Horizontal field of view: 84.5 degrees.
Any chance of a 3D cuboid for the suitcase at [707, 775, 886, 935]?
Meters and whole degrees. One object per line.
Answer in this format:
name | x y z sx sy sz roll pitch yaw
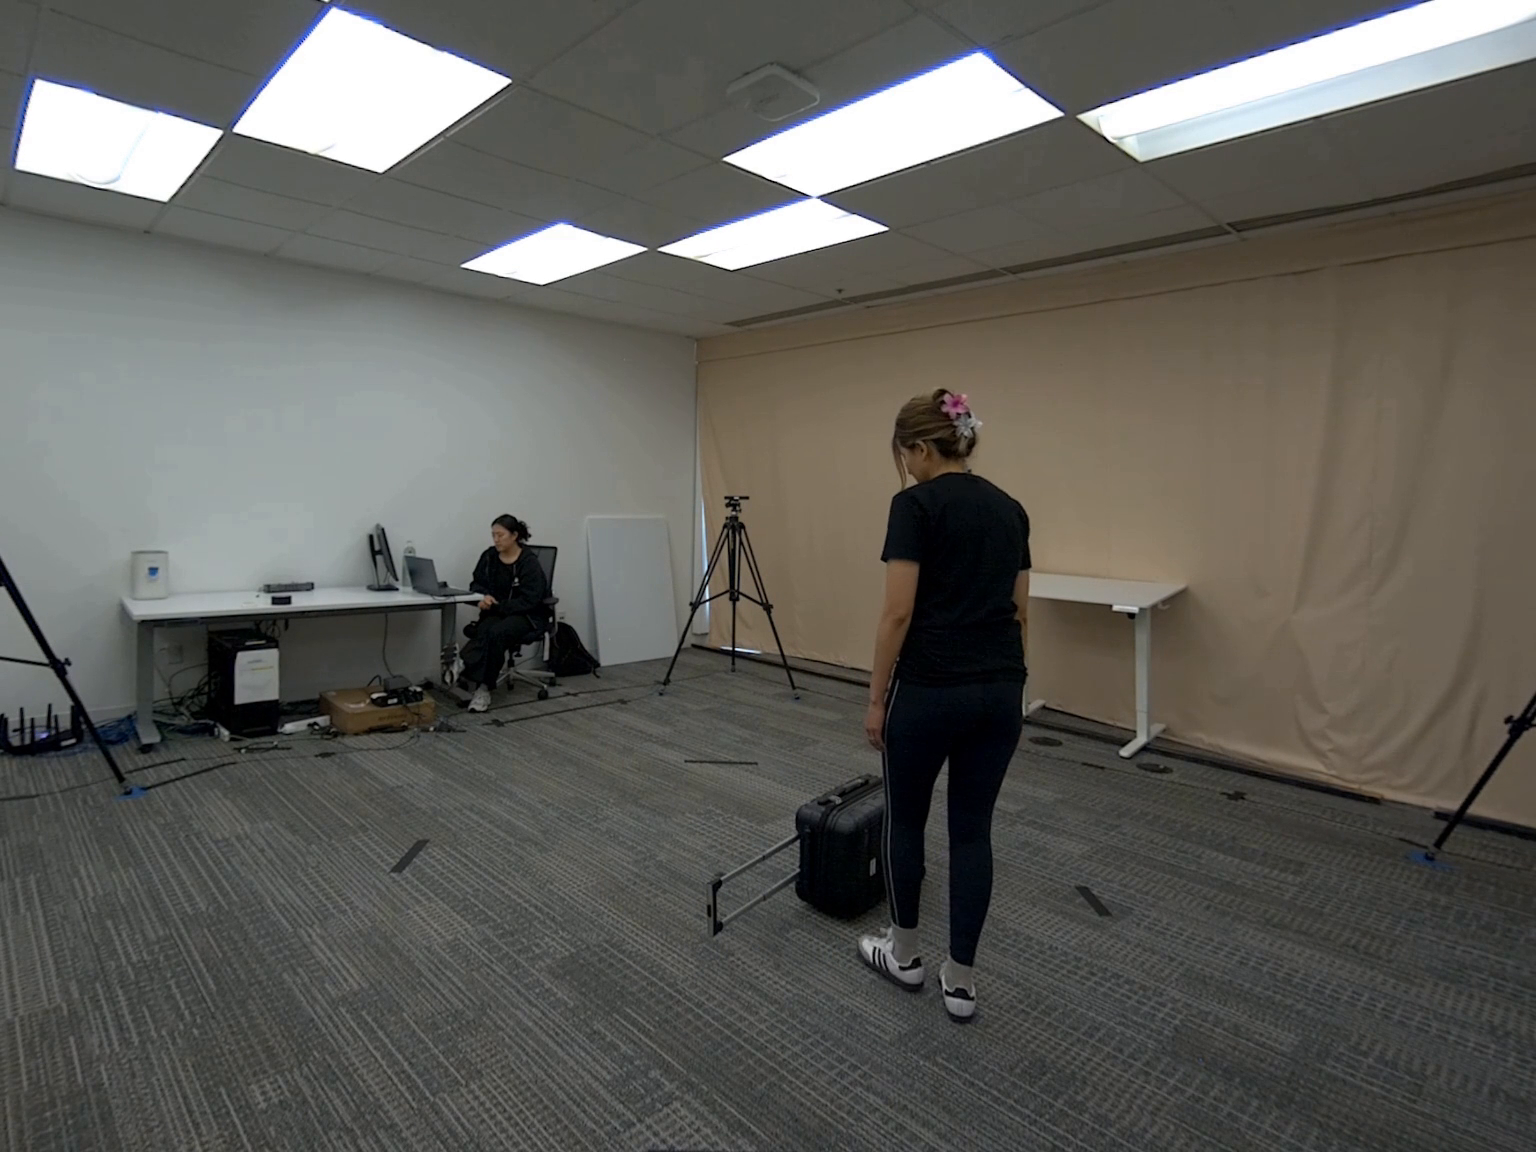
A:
suitcase | 0.201 0.952 2.808 0.263 0.383 0.958 3 5 36
